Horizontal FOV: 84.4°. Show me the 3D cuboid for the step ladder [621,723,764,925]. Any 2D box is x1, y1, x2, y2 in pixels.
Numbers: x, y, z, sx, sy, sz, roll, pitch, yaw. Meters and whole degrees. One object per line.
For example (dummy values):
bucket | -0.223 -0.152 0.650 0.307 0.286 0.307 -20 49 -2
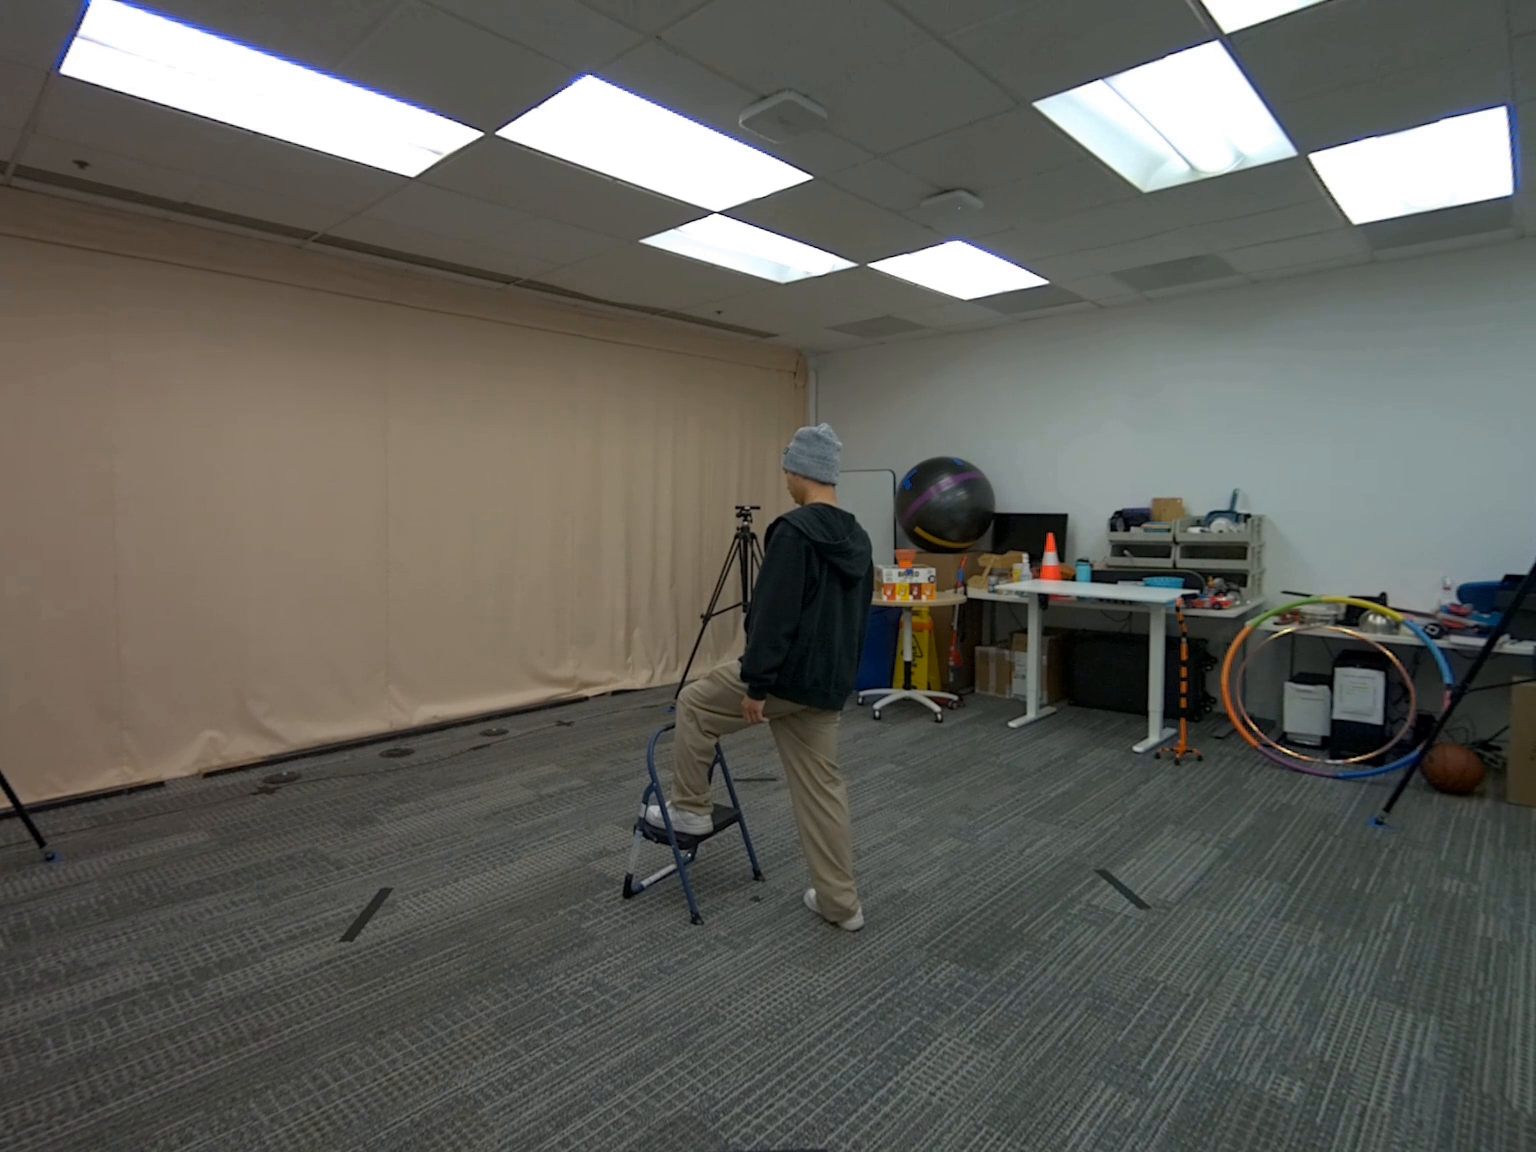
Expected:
step ladder | -0.268 0.839 3.056 0.360 0.605 0.419 1 4 33
